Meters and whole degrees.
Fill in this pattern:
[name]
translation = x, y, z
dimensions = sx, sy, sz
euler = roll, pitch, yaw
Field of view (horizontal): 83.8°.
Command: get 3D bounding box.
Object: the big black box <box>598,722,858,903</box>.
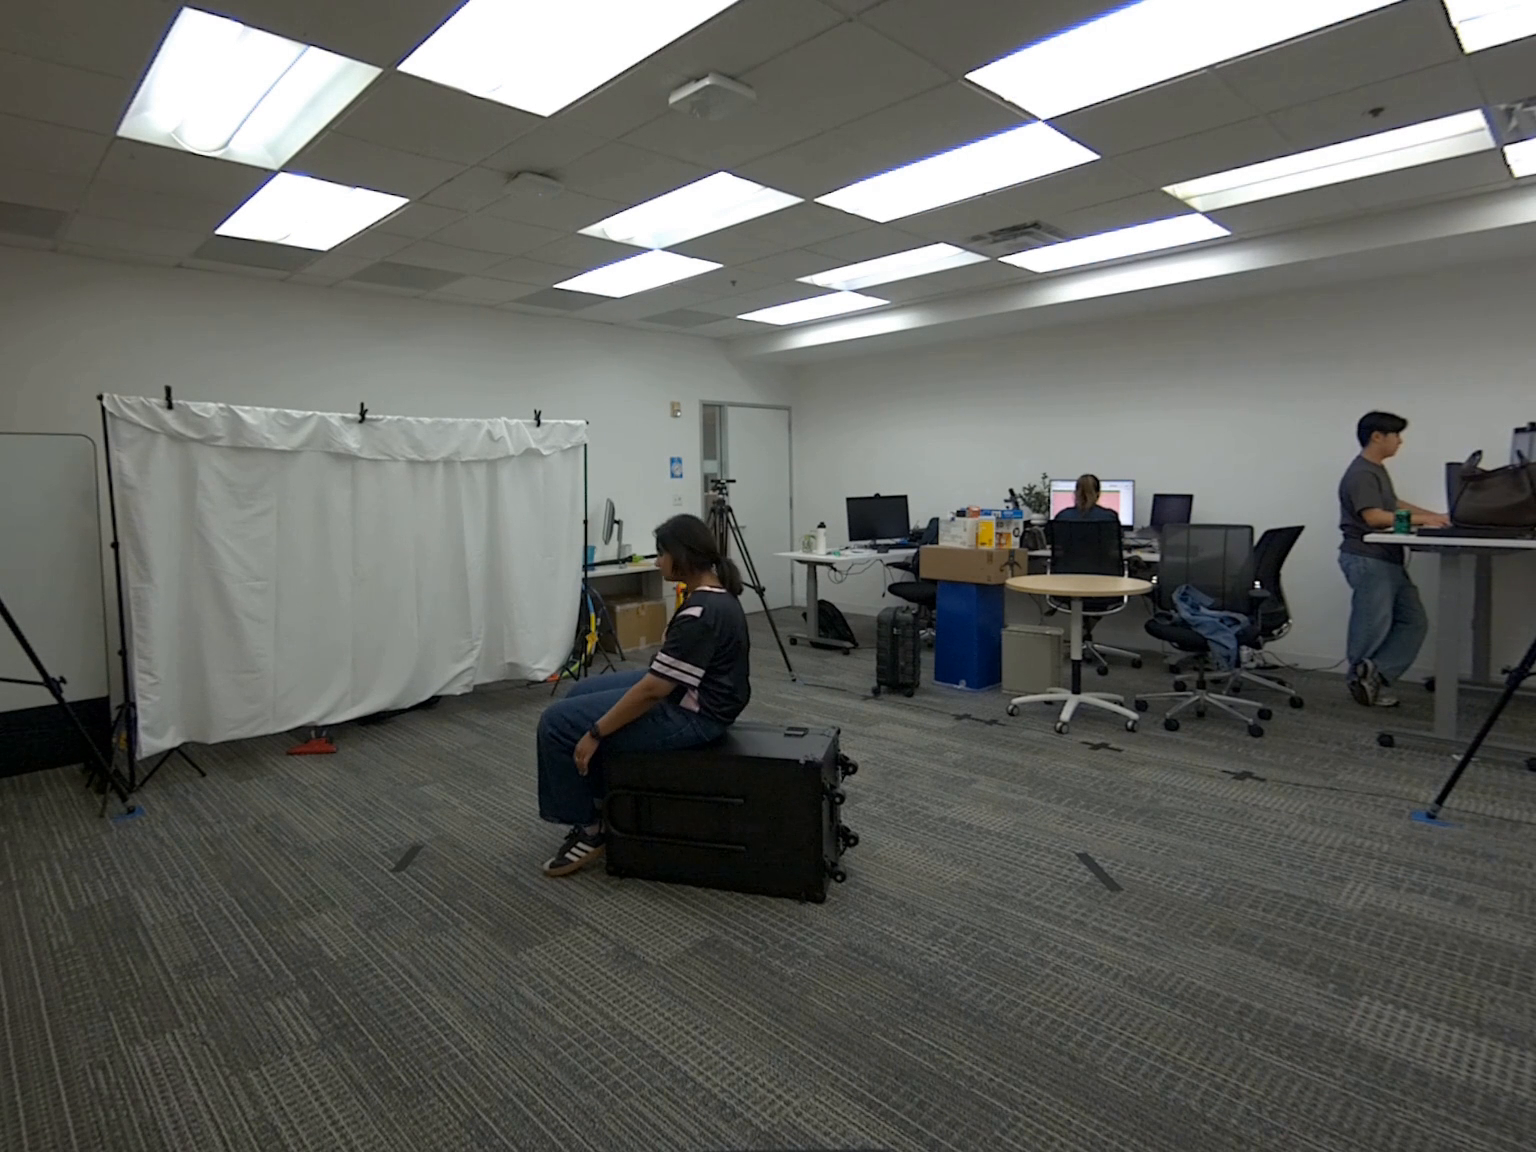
[big black box]
translation = -0.120, 0.794, 3.051
dimensions = 0.883, 0.522, 0.380
euler = 1, 4, 17
